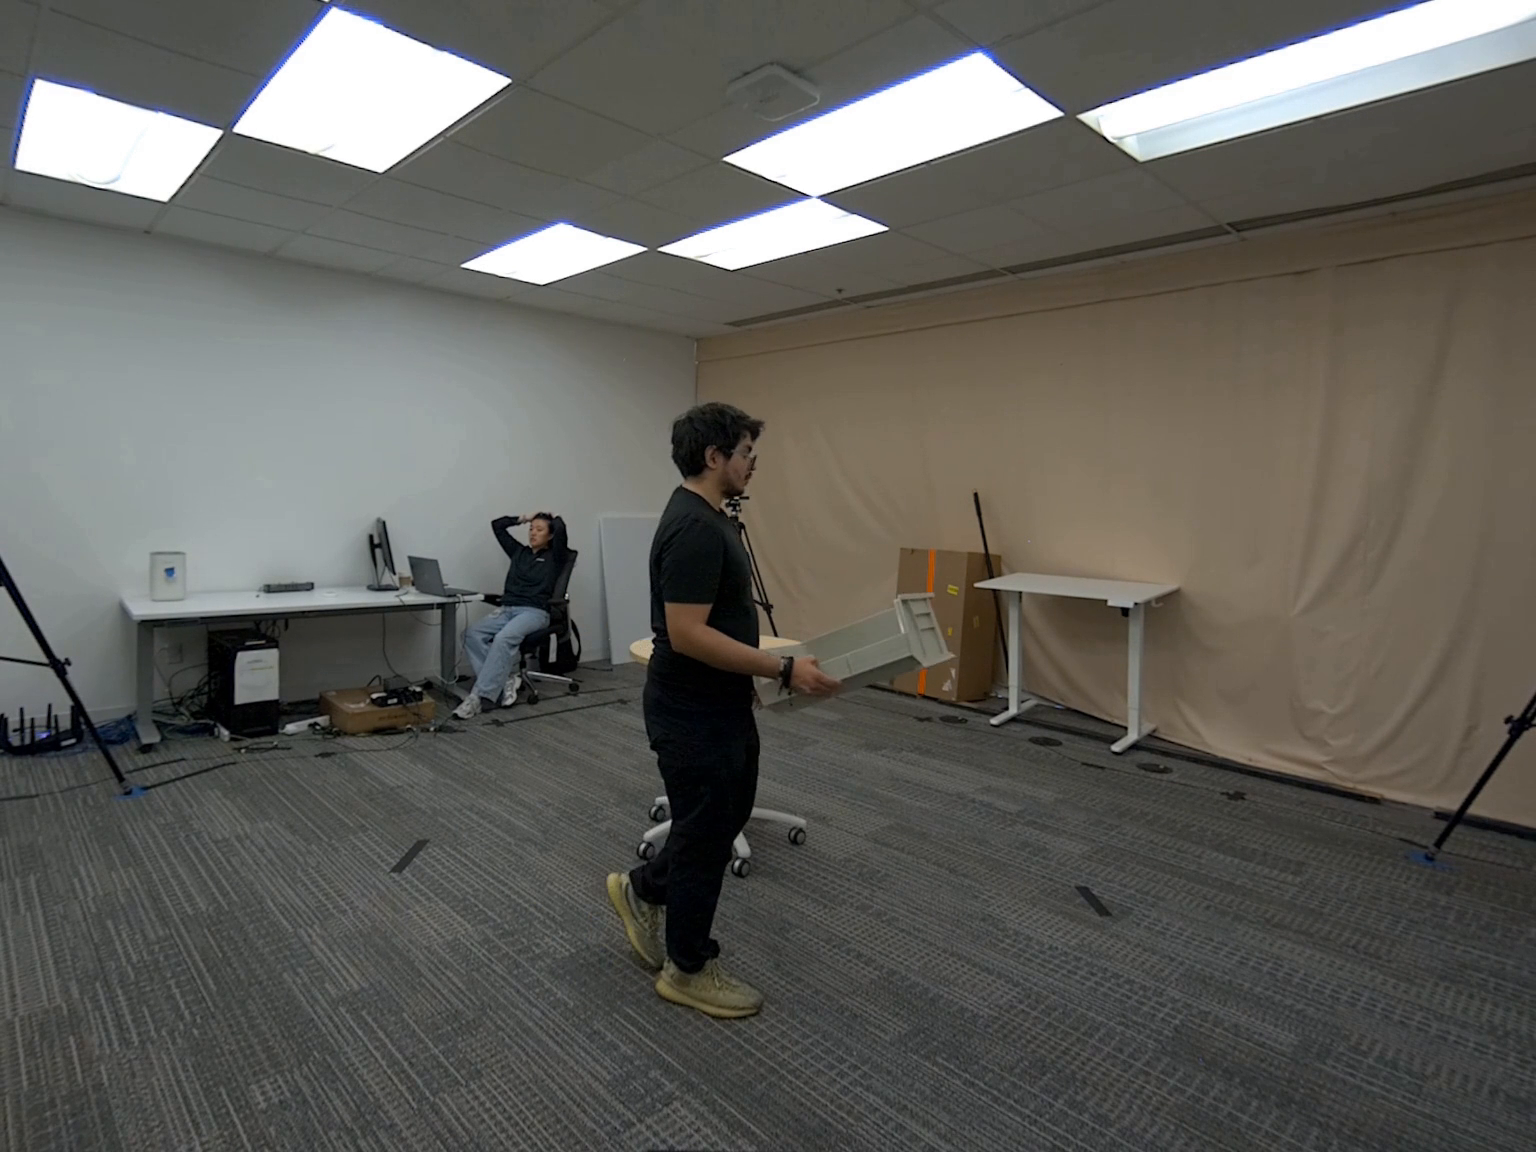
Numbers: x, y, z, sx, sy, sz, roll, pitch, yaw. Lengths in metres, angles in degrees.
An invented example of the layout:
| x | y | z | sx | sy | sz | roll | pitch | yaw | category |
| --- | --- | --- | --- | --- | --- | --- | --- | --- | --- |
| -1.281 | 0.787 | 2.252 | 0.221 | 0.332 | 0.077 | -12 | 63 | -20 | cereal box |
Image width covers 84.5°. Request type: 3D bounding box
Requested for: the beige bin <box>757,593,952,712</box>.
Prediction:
| x | y | z | sx | sy | sz | roll | pitch | yaw | category |
| --- | --- | --- | --- | --- | --- | --- | --- | --- | --- |
| 0.208 | 0.203 | 2.164 | 0.426 | 0.191 | 0.369 | -24 | -13 | 24 | beige bin |
